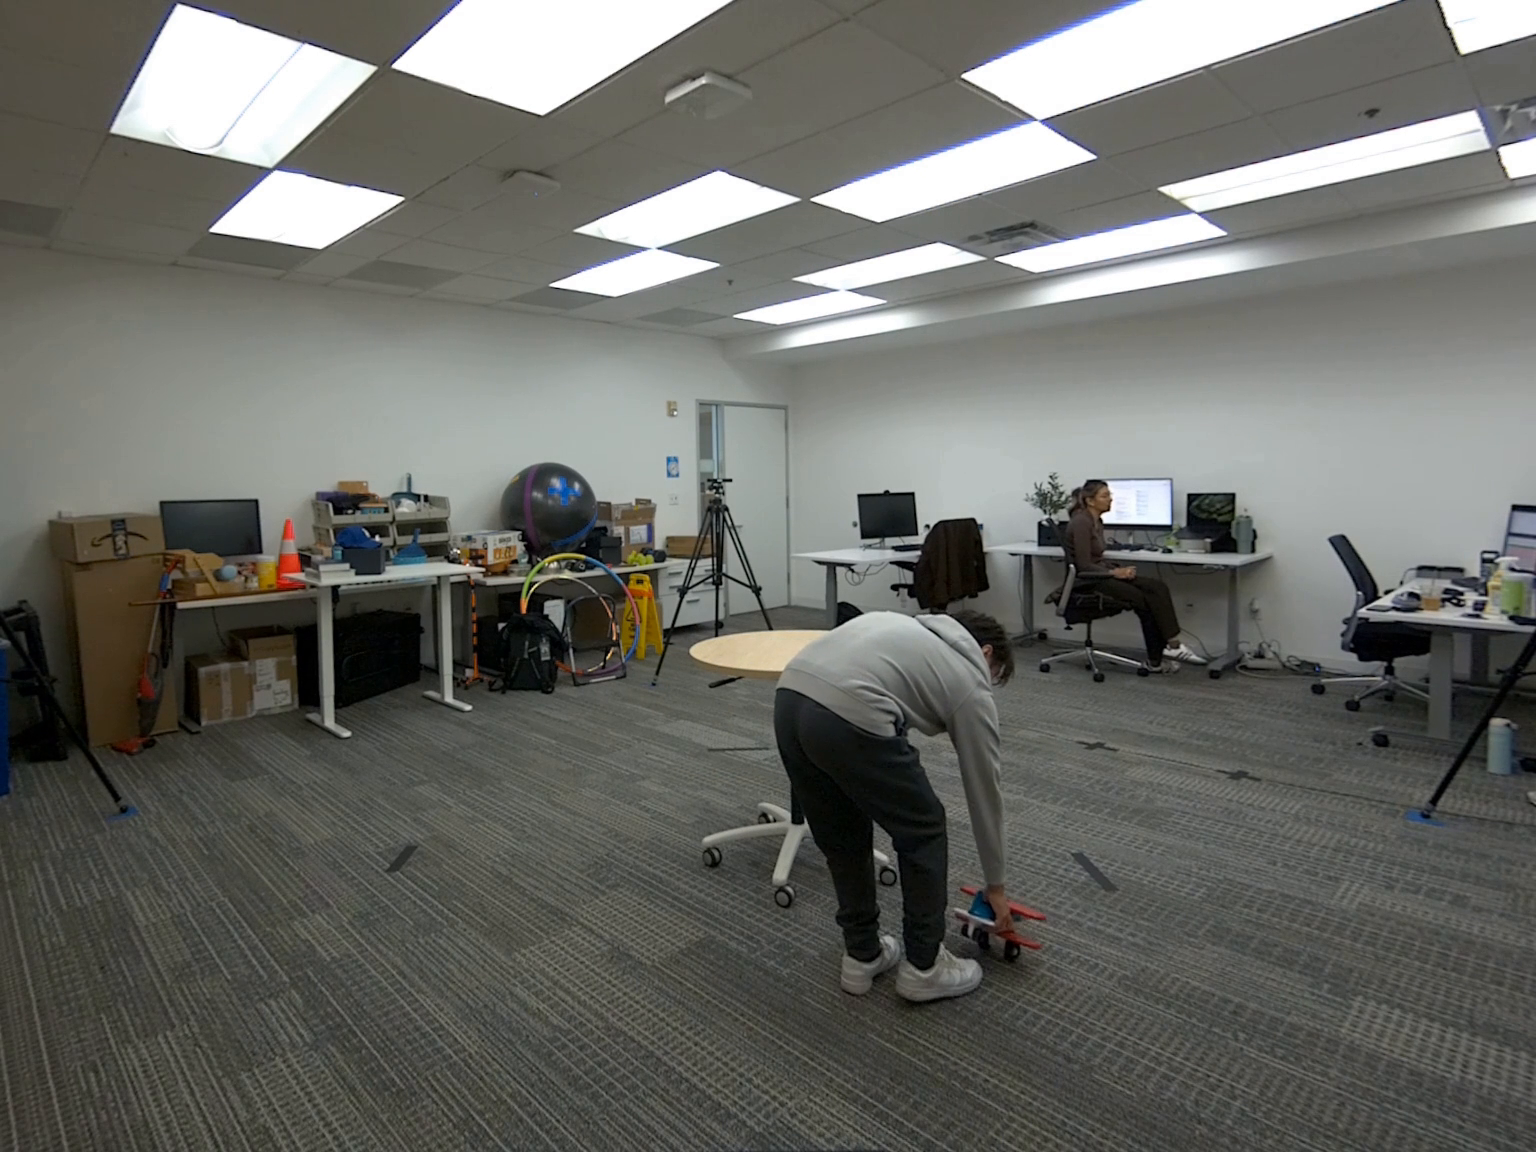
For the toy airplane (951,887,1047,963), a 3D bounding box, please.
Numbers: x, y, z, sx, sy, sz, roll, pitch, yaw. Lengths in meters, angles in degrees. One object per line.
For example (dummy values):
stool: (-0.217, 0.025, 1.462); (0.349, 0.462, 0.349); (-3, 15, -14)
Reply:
toy airplane: (0.660, 0.995, 2.452); (0.257, 0.157, 0.251); (19, -20, 19)
